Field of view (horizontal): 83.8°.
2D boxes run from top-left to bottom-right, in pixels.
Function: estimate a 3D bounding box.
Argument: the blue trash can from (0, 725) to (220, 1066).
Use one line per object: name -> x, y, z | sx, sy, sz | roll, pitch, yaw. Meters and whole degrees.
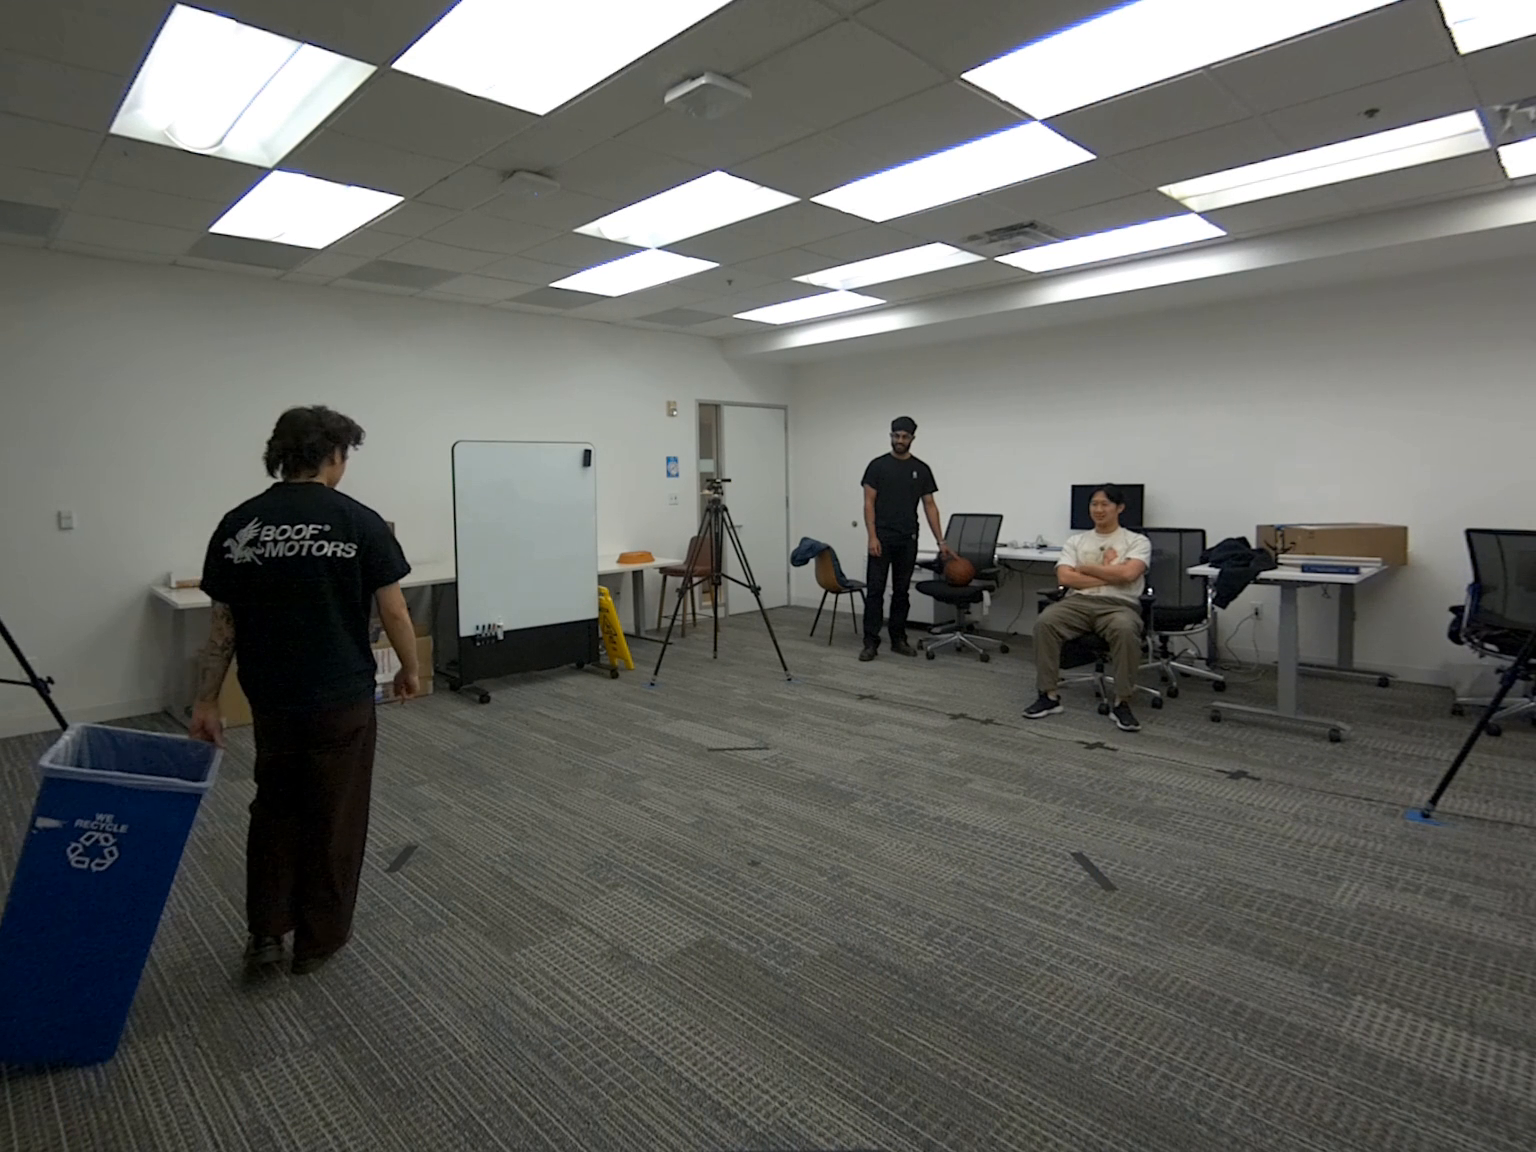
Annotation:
blue trash can -> -1.704, 0.803, 2.180 | 0.363, 0.714, 0.389 | 16, -2, -30
